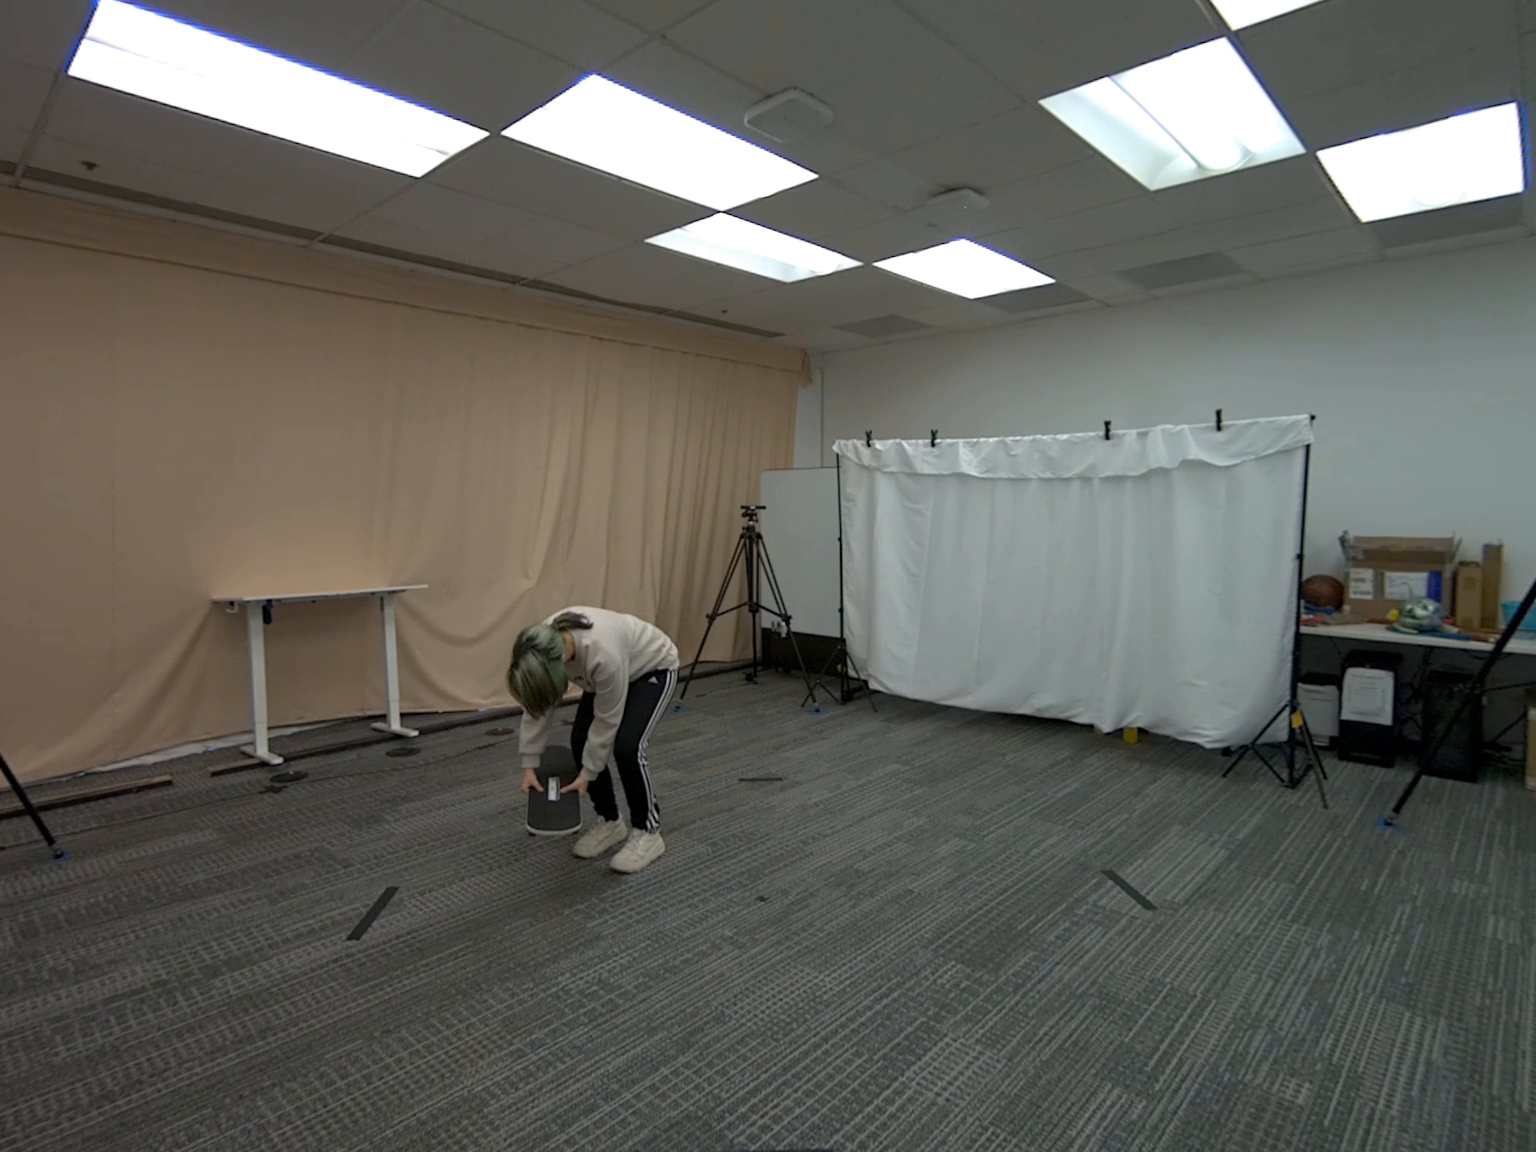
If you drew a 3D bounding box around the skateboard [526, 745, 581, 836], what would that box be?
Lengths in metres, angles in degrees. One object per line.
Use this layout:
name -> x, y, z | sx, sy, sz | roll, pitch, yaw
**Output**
skateboard -> -0.823, 0.844, 3.223 | 0.191, 0.110, 0.800 | 1, 9, -14
